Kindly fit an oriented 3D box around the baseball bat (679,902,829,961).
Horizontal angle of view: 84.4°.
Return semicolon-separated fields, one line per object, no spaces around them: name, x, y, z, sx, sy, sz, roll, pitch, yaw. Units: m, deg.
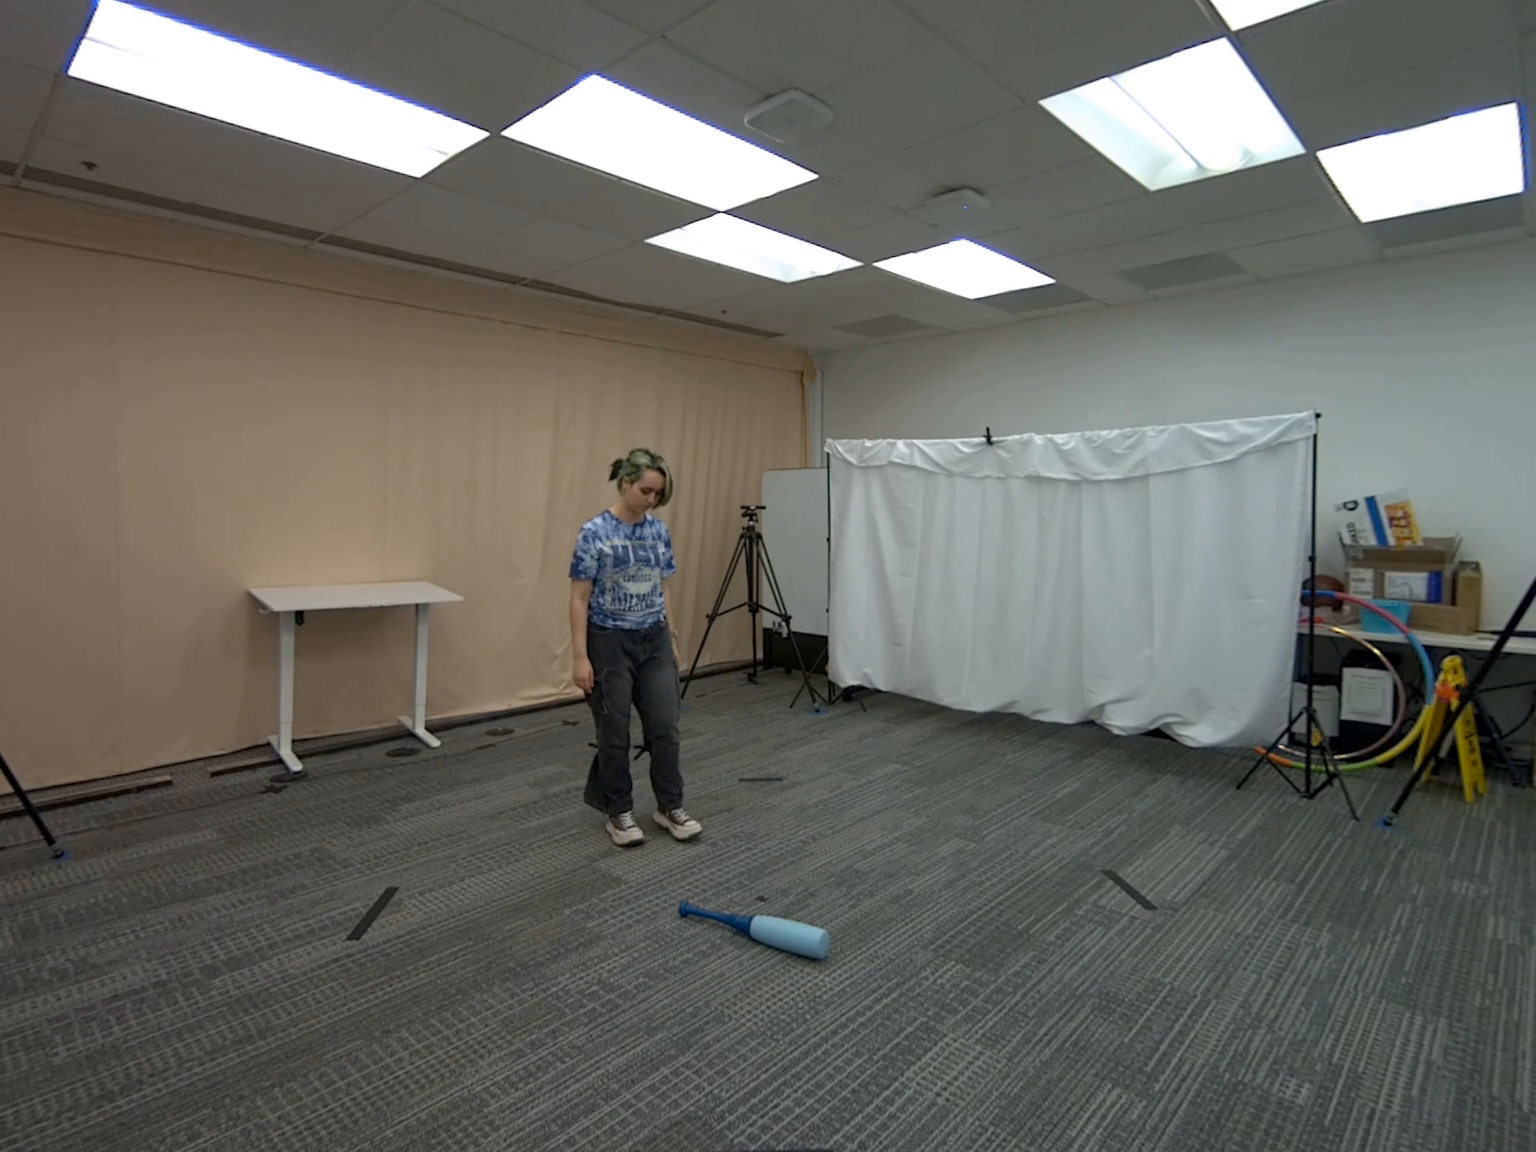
baseball bat;-0.058;1.132;2.714;0.558;0.089;0.086;-1;3;31
